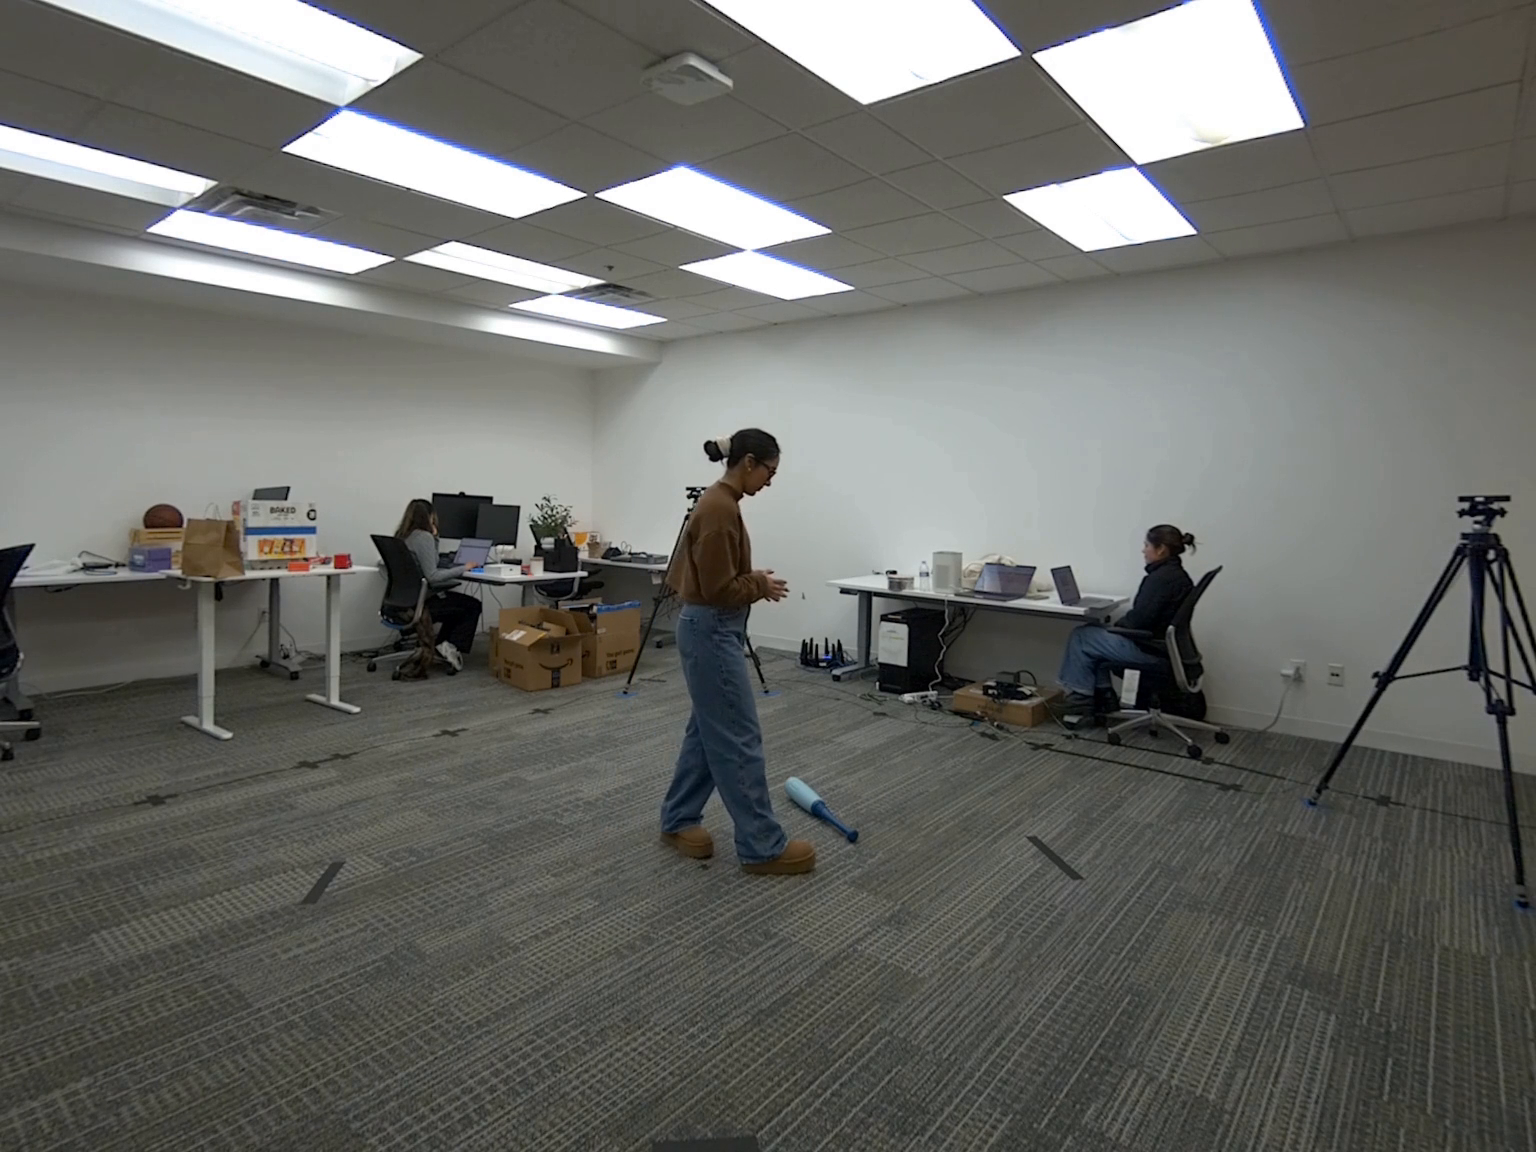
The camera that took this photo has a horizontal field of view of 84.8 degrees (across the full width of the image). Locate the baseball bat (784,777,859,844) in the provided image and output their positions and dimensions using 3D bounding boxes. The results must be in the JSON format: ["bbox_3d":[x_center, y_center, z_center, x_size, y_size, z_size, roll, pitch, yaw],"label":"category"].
[{"bbox_3d":[0.214,0.988,3.607,0.087,0.088,0.559,-1,9,-25],"label":"baseball bat"}]
